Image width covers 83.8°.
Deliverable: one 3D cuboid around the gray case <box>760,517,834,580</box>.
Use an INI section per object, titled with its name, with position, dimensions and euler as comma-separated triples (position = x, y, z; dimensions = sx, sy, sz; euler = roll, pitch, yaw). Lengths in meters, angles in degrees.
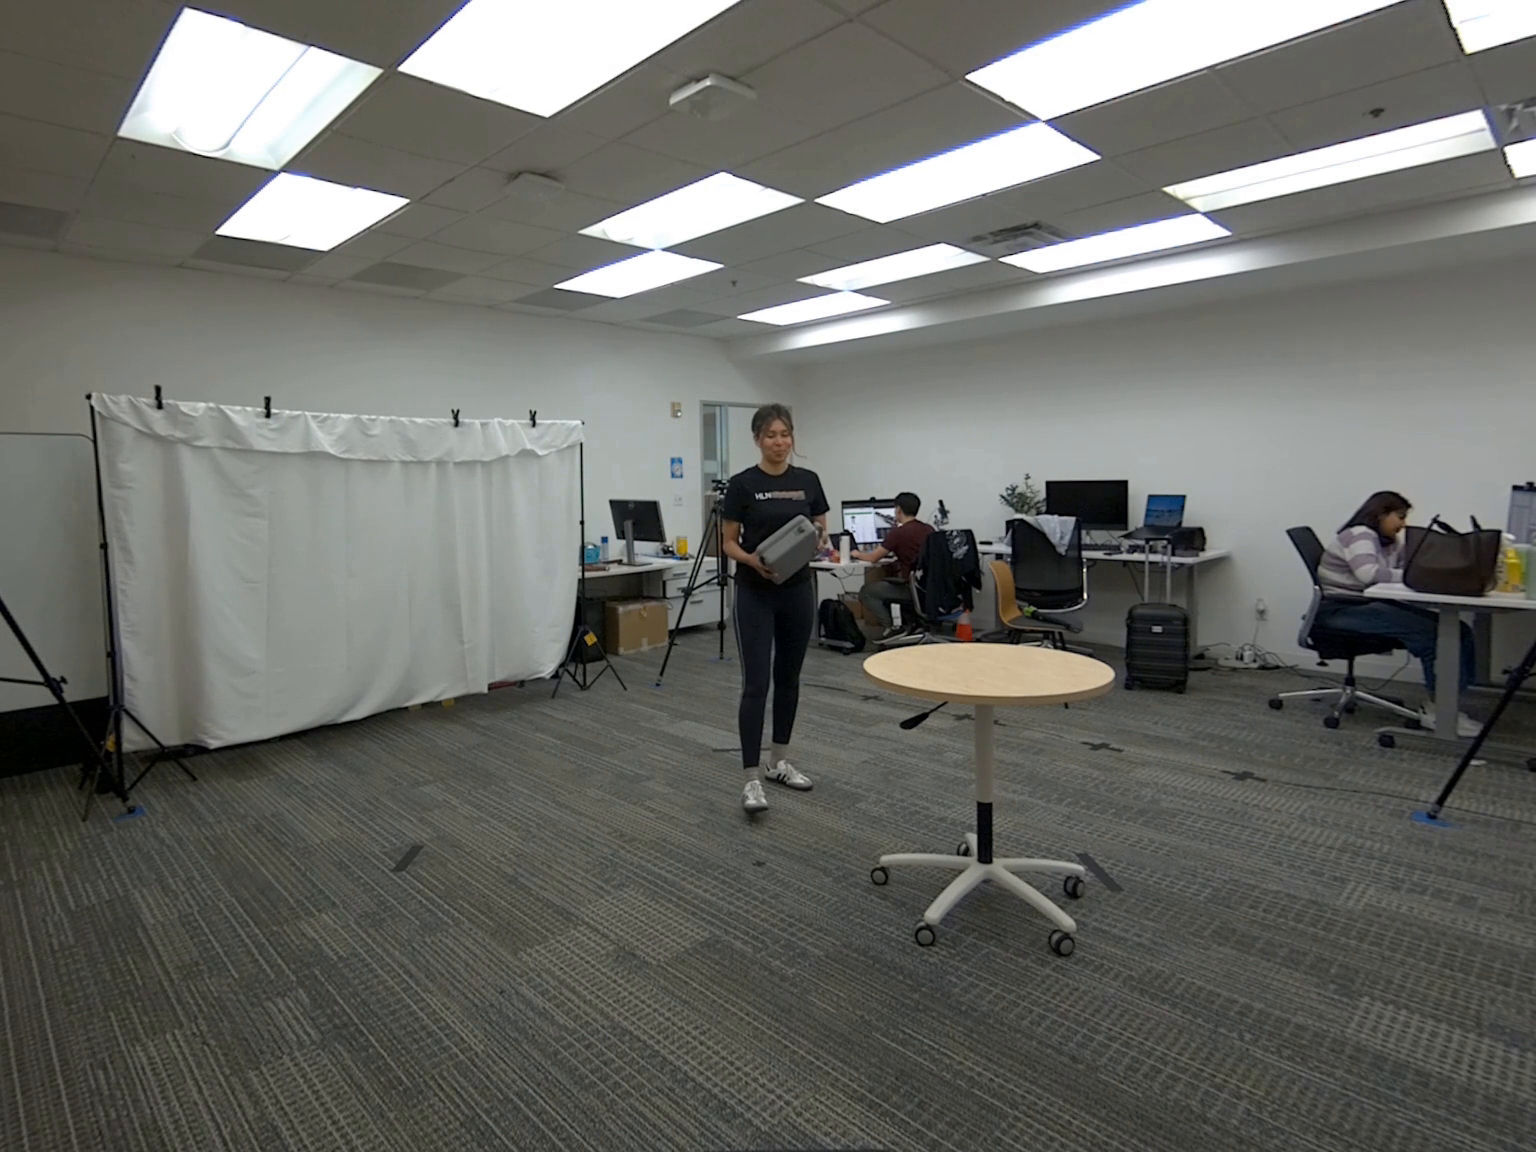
[gray case]
position = 0.123, -0.108, 3.562
dimensions = 0.260, 0.108, 0.249
euler = -38, -25, -5
